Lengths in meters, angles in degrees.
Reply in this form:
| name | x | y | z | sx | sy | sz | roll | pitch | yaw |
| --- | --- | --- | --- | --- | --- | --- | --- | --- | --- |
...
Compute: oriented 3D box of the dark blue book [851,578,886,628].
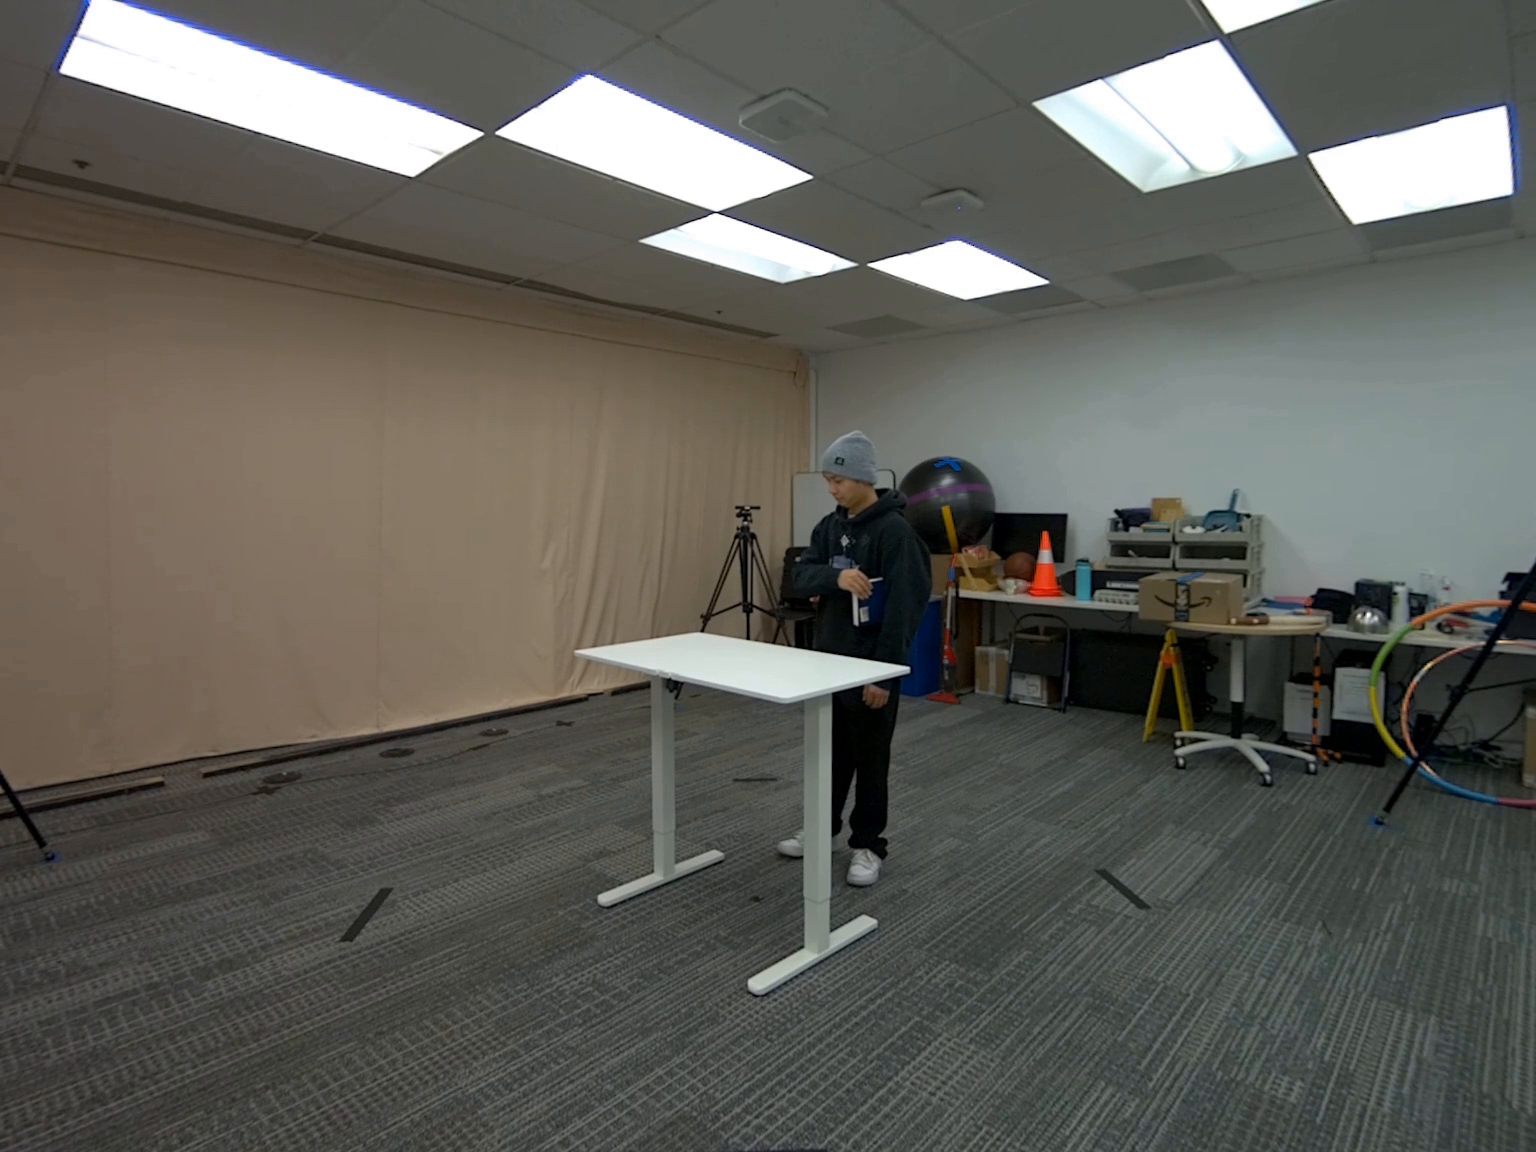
| name | x | y | z | sx | sy | sz | roll | pitch | yaw |
| --- | --- | --- | --- | --- | --- | --- | --- | --- | --- |
| dark blue book | 0.422 | 0.094 | 3.066 | 0.240 | 0.163 | 0.046 | -7 | 6 | -20 |
